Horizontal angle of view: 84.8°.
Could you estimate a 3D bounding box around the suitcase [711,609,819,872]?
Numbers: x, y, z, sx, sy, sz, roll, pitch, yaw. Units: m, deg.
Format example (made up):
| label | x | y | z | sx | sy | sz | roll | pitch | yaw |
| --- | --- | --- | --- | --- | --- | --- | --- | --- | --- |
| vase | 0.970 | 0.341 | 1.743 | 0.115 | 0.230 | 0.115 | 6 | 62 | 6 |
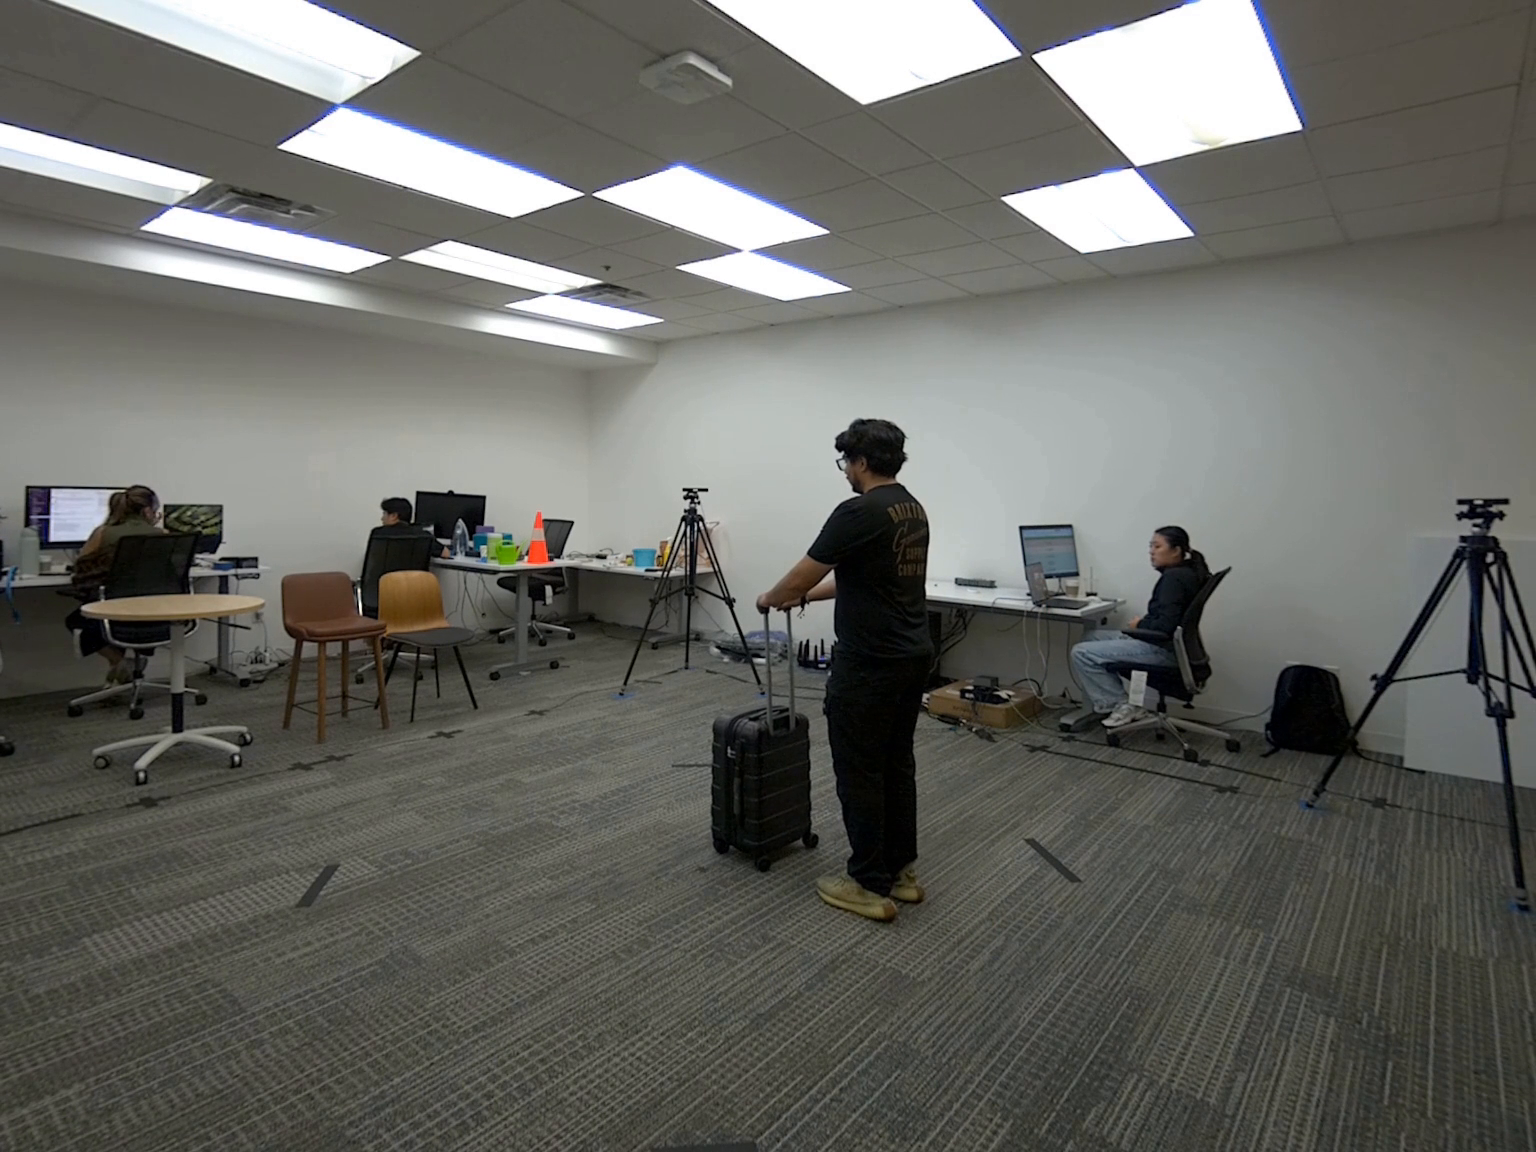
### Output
| label | x | y | z | sx | sy | sz | roll | pitch | yaw |
| --- | --- | --- | --- | --- | --- | --- | --- | --- | --- |
| suitcase | -0.040 | 0.580 | 3.277 | 0.265 | 0.978 | 0.372 | -1 | 2 | 44 |
